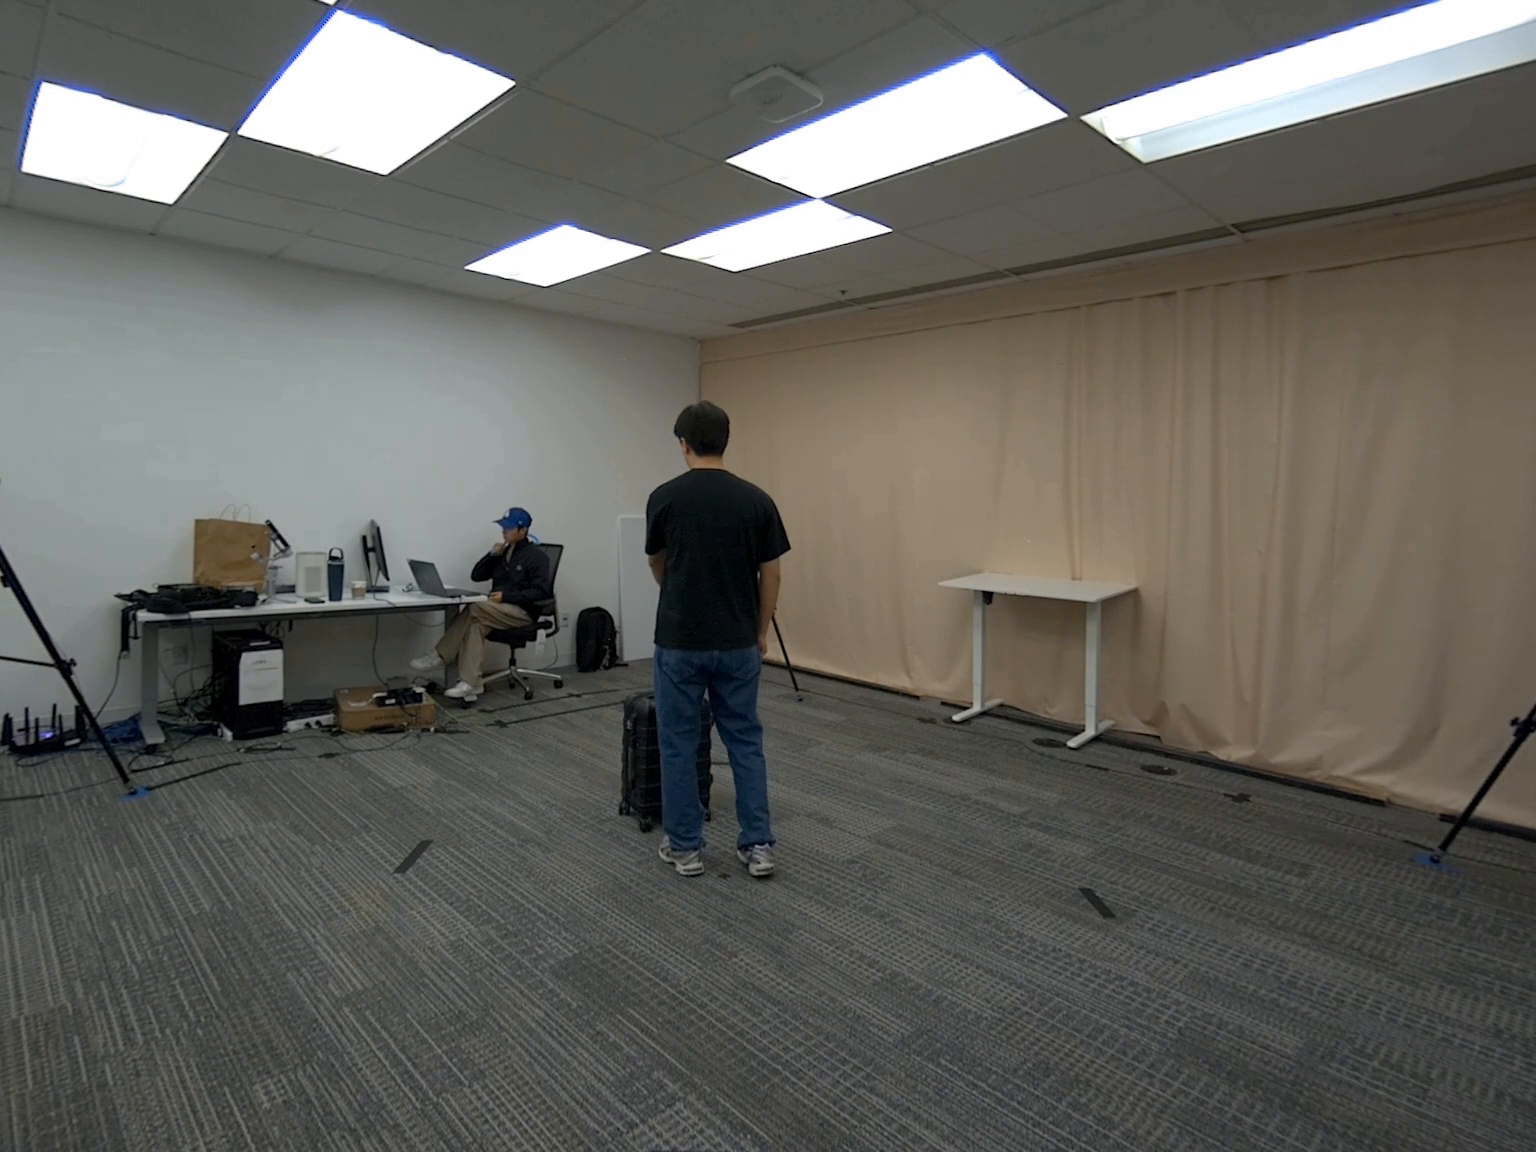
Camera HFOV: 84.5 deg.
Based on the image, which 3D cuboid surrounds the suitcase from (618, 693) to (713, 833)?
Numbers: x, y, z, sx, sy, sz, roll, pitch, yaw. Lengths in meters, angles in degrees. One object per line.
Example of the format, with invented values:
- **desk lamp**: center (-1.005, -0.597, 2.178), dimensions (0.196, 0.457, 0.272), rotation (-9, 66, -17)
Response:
- **suitcase**: center (-0.448, 0.572, 3.676), dimensions (0.375, 0.978, 0.263), rotation (1, 0, -33)
